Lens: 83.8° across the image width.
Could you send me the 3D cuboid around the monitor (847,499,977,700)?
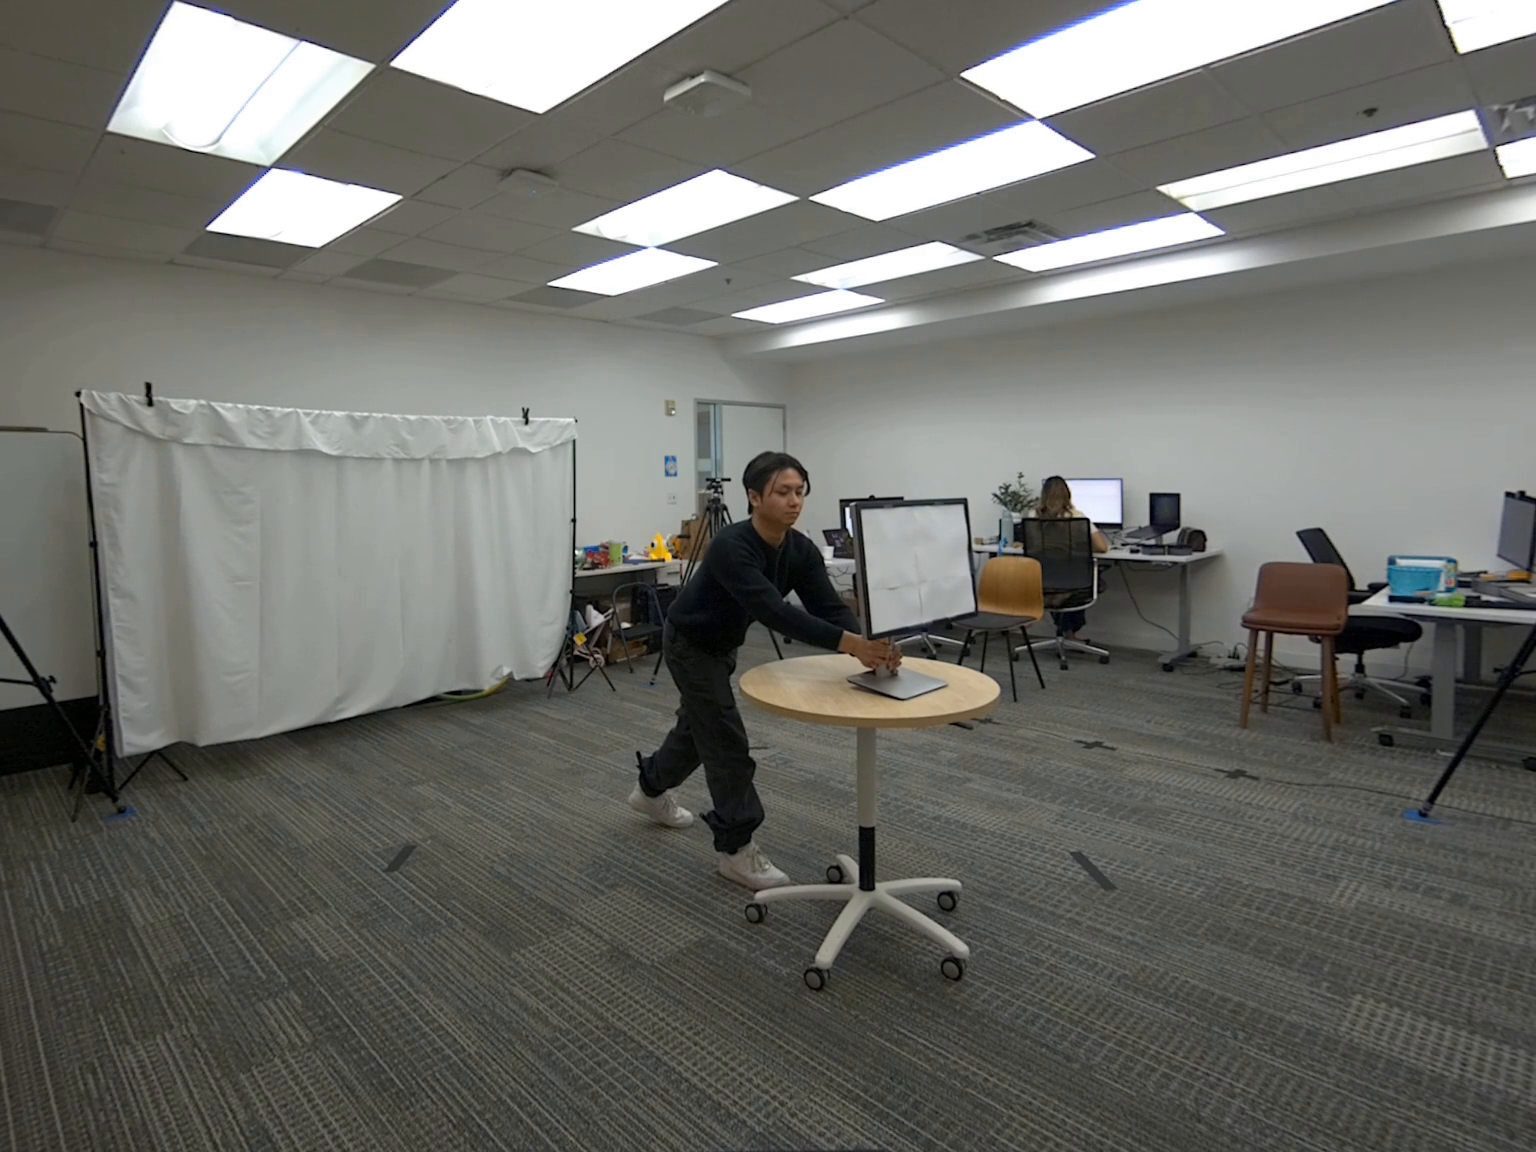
[{"bbox_3d":[0.405,0.053,2.460,0.193,0.519,0.525,10,11,42],"label":"monitor"}]
